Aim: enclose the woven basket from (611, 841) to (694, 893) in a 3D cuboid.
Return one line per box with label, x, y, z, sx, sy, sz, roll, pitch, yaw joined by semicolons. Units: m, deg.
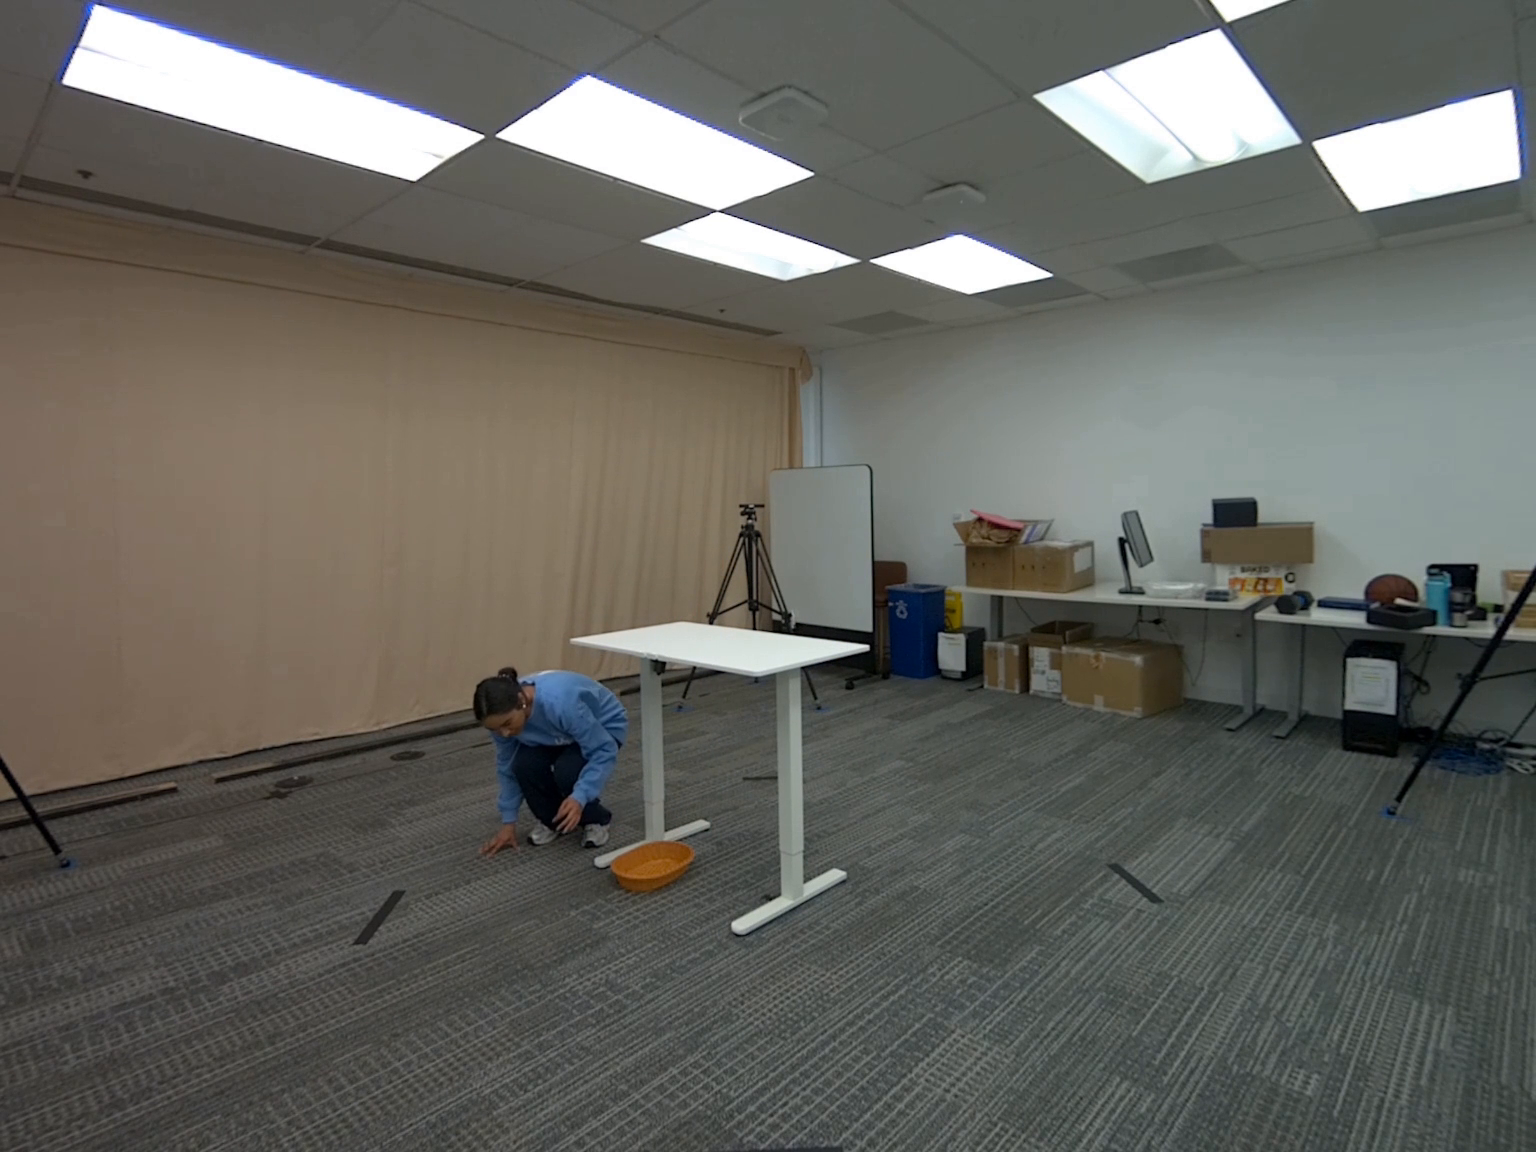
woven basket;-0.435;1.092;3.169;0.261;0.073;0.340;4;7;39
